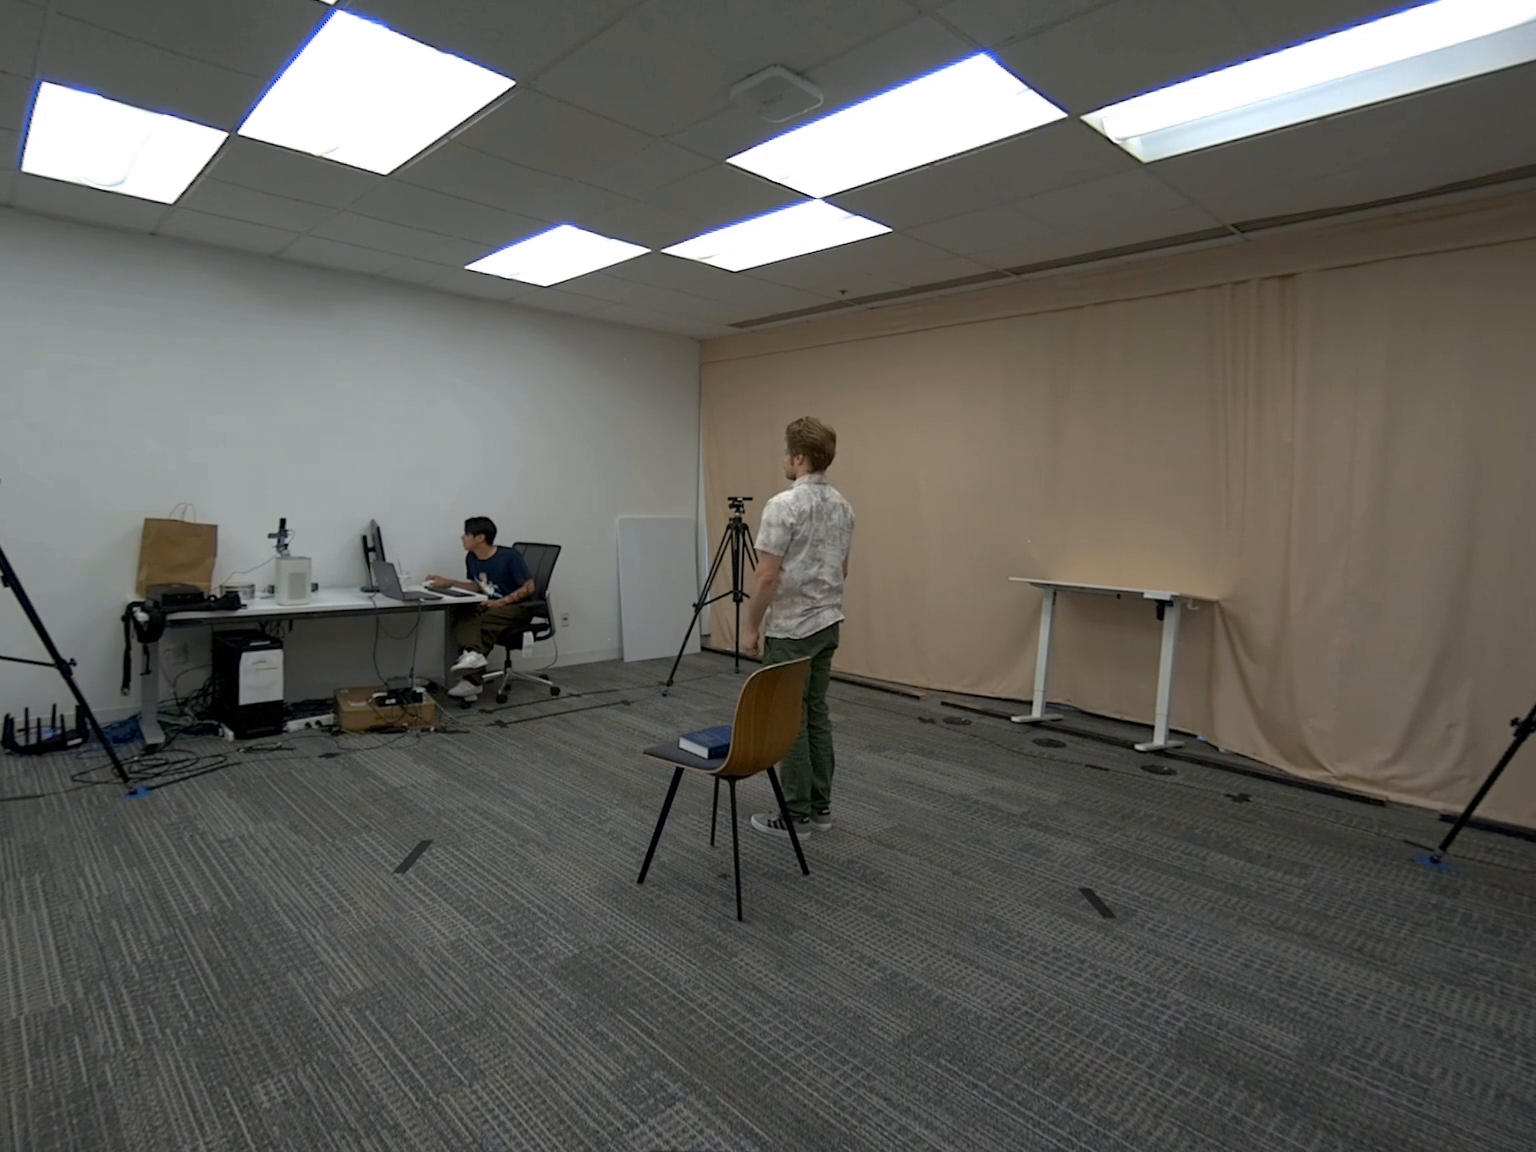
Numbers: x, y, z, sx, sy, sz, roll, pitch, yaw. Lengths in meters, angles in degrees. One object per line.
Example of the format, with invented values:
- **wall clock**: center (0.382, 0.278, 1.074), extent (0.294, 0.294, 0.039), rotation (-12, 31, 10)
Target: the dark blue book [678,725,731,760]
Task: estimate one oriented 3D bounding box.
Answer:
- **dark blue book**: center (-0.184, 0.602, 3.068), extent (0.168, 0.045, 0.239), rotation (10, 9, 43)
